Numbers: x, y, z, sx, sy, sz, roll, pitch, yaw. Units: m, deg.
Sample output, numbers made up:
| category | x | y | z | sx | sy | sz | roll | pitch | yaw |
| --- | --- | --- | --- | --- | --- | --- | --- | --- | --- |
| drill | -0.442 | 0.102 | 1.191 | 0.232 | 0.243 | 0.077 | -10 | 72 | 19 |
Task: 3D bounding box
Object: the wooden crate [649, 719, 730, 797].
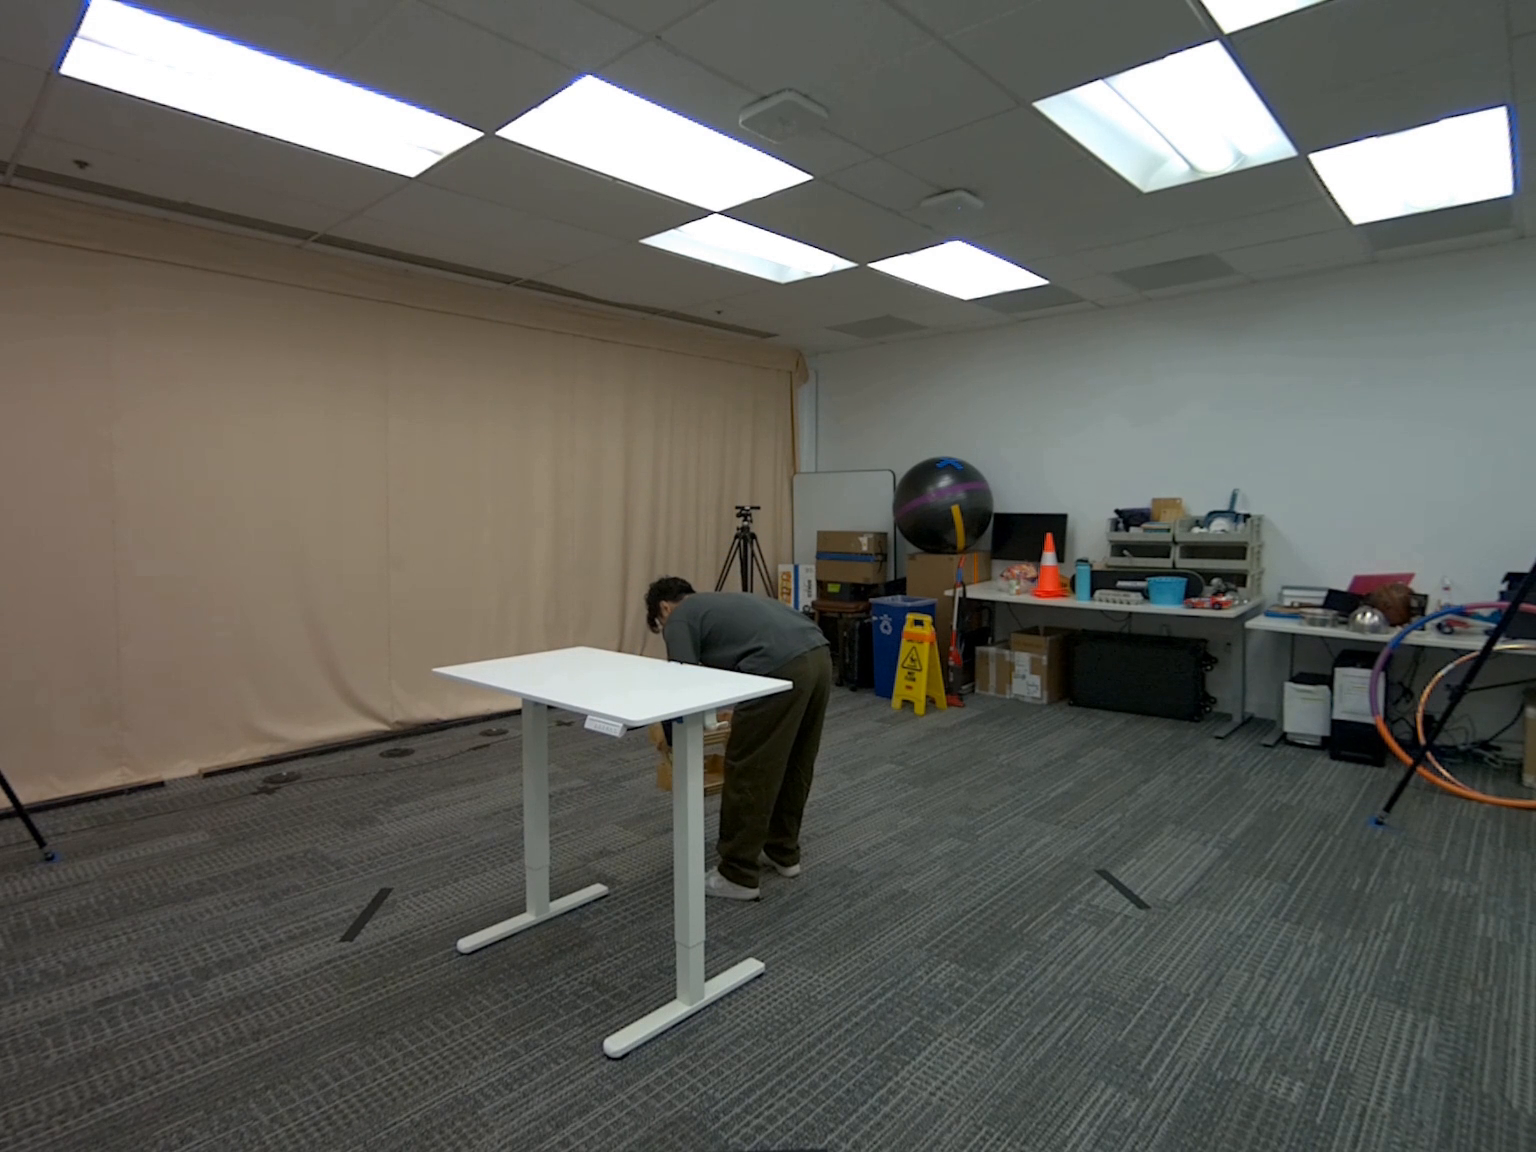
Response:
| category | x | y | z | sx | sy | sz | roll | pitch | yaw |
| --- | --- | --- | --- | --- | --- | --- | --- | --- | --- |
| wooden crate | -0.264 | 0.701 | 3.358 | 0.314 | 0.273 | 0.311 | 0 | 0 | -42 |
